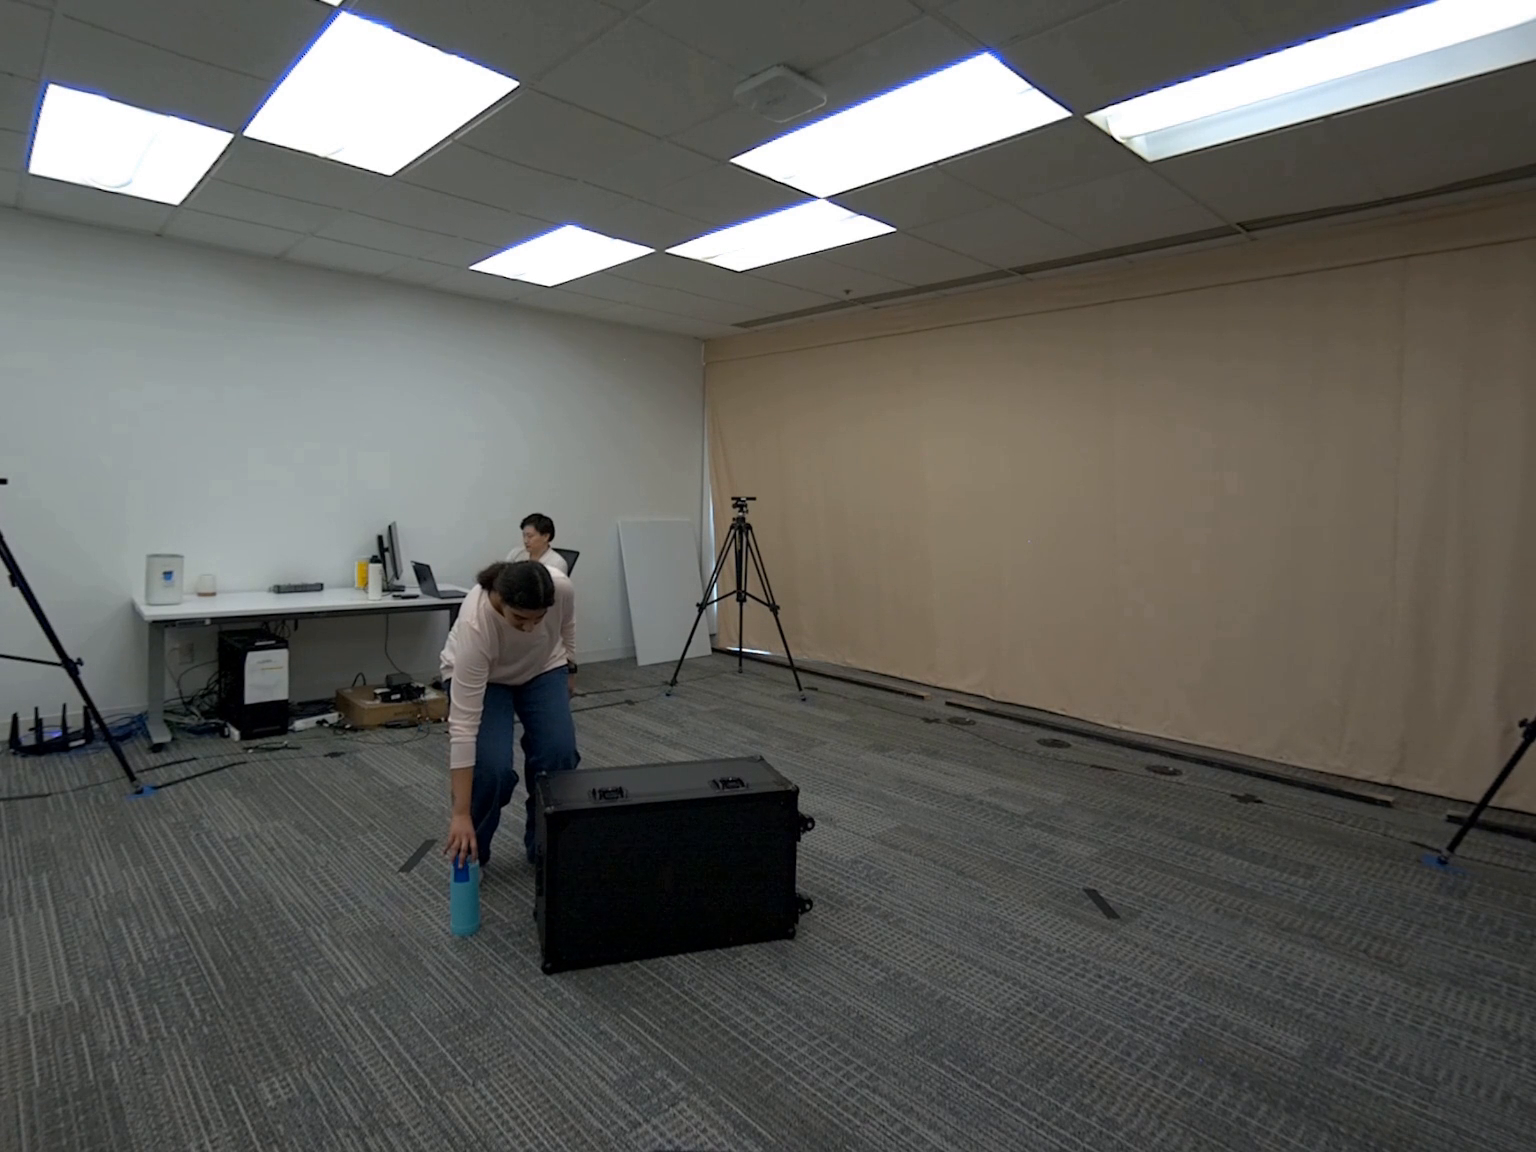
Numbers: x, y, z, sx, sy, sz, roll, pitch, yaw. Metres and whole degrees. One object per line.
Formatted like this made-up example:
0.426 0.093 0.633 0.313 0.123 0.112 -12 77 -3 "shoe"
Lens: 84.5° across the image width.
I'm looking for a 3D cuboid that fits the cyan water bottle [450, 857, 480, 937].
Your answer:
-0.968 0.984 2.675 0.092 0.282 0.093 2 6 -2 "cyan water bottle"
